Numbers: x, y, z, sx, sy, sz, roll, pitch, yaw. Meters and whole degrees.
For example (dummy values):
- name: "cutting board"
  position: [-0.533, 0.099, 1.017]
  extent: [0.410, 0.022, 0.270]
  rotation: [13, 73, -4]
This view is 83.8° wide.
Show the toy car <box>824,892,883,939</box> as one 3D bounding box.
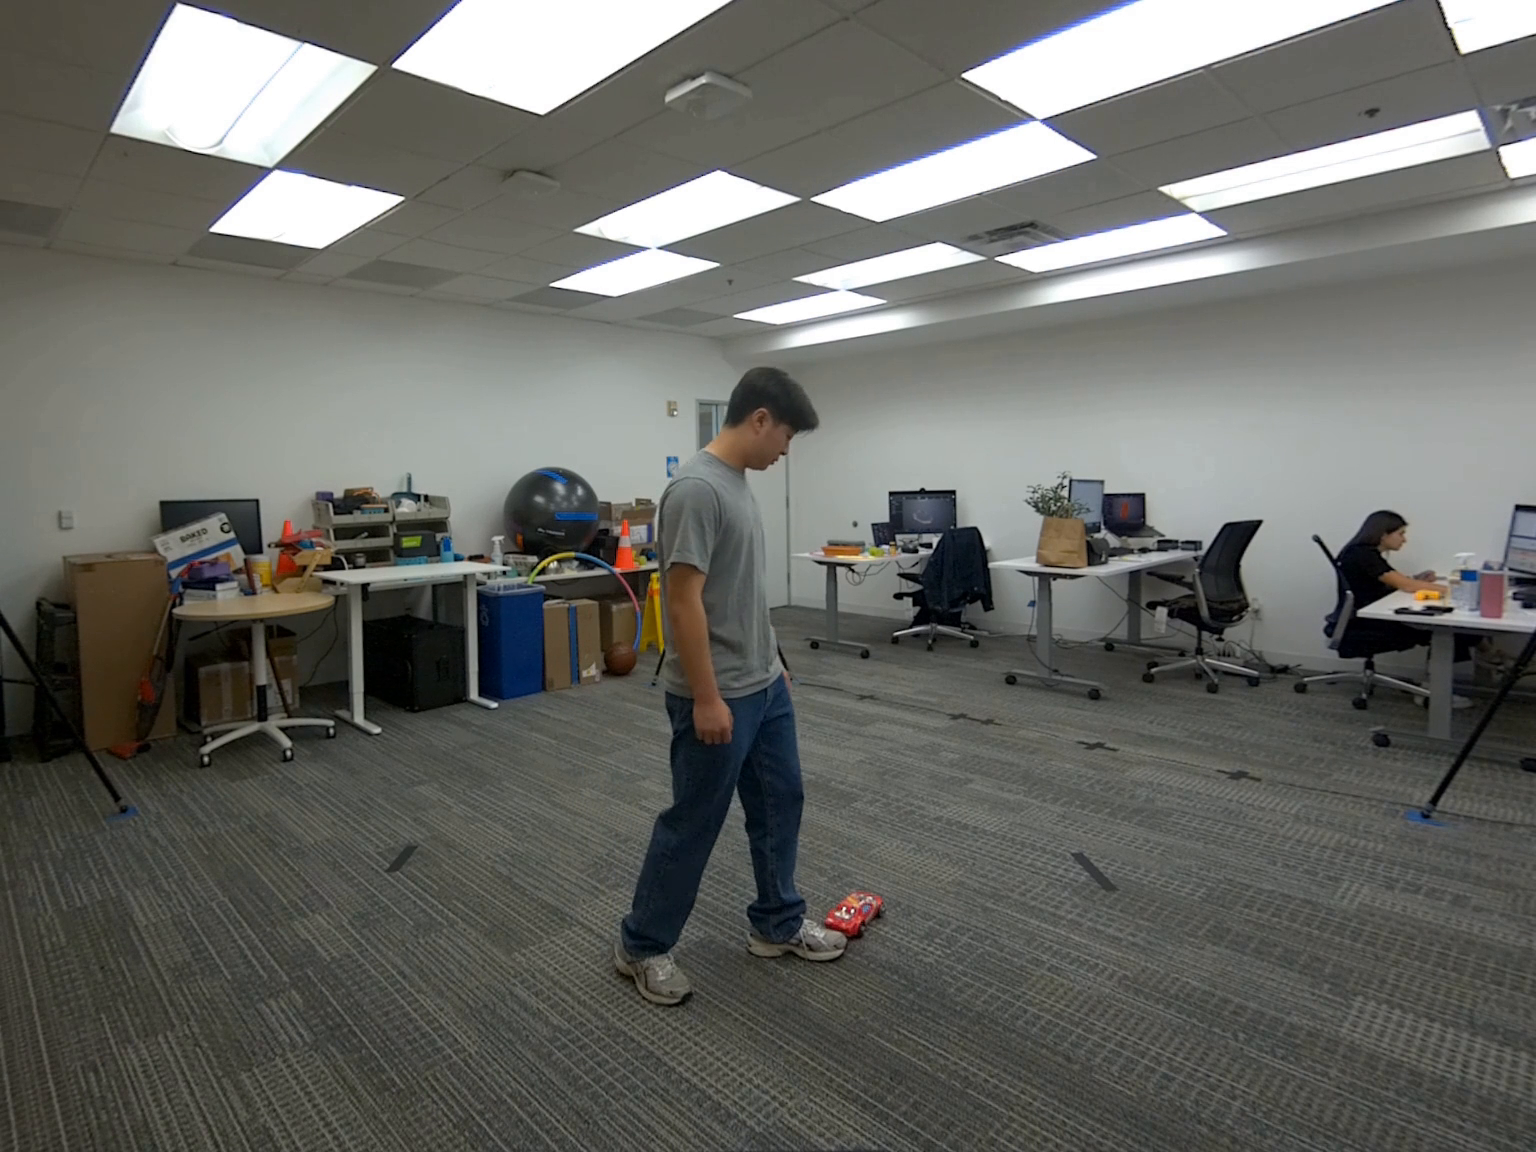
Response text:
- name: "toy car"
  position: [0.273, 1.059, 2.660]
  extent: [0.134, 0.083, 0.247]
  rotation: [3, -3, 33]
